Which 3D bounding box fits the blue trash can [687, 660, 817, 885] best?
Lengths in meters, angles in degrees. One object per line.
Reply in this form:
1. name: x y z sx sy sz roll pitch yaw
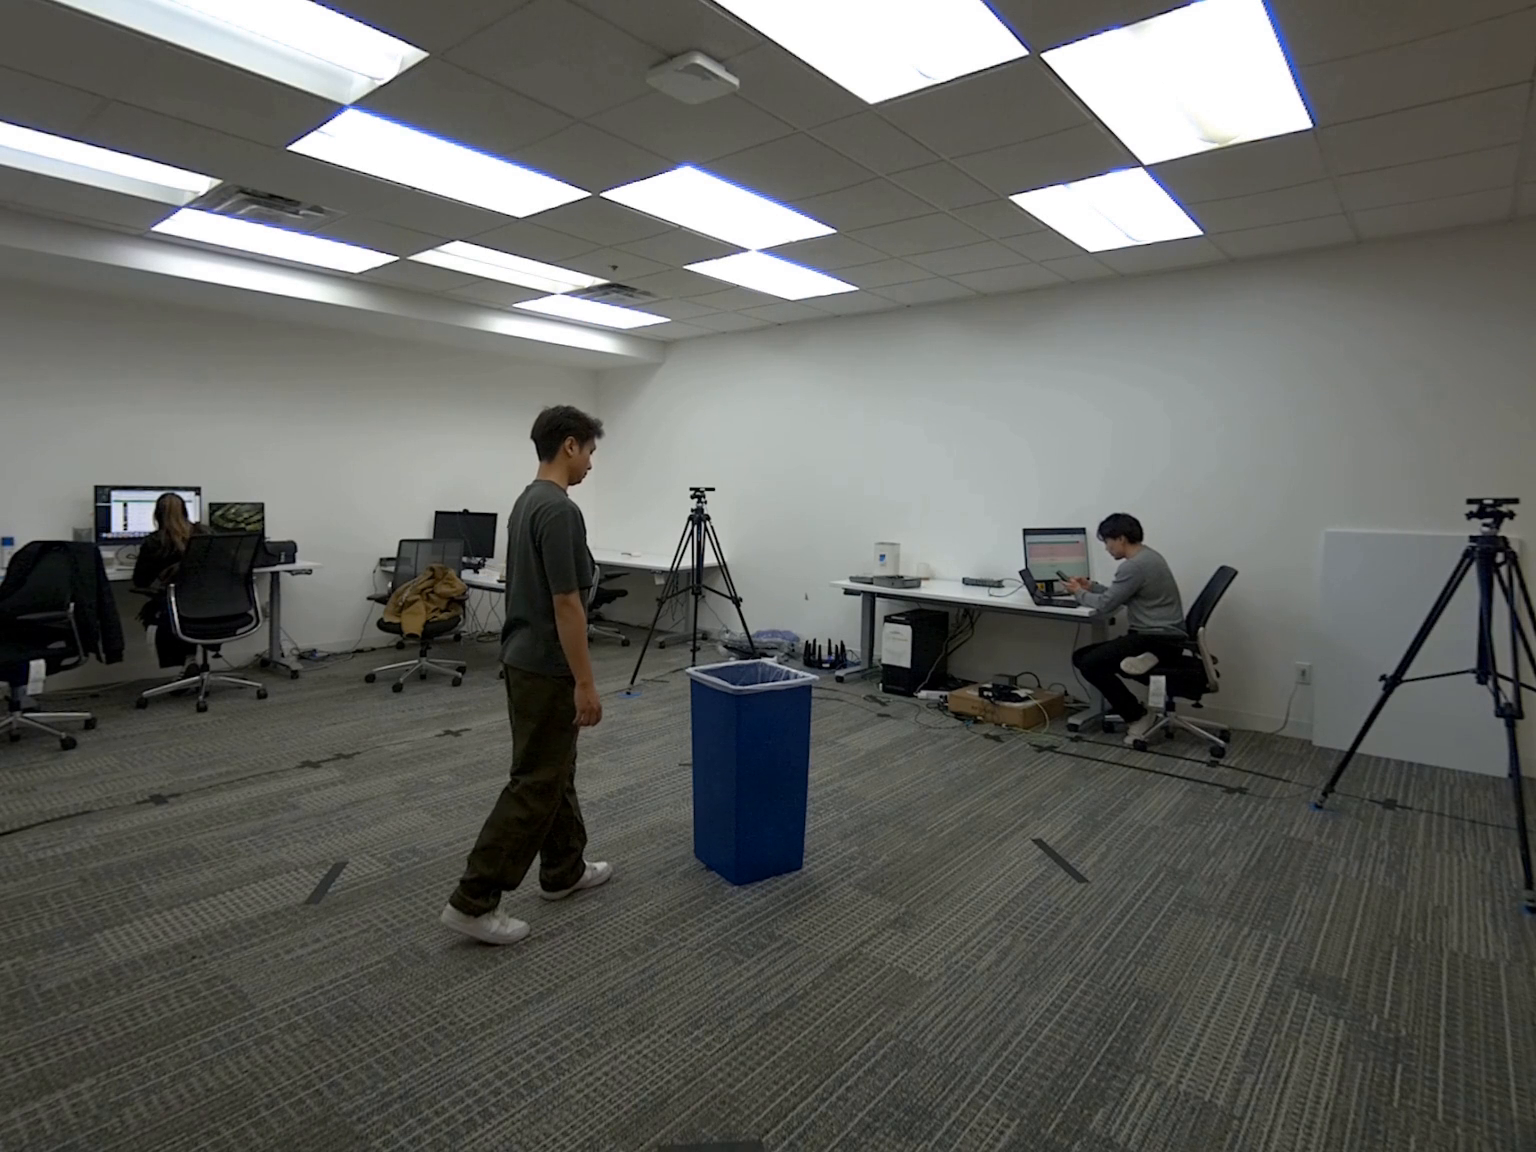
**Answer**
1. blue trash can: -0.086 0.704 3.157 0.367 0.711 0.386 -2 4 -35
